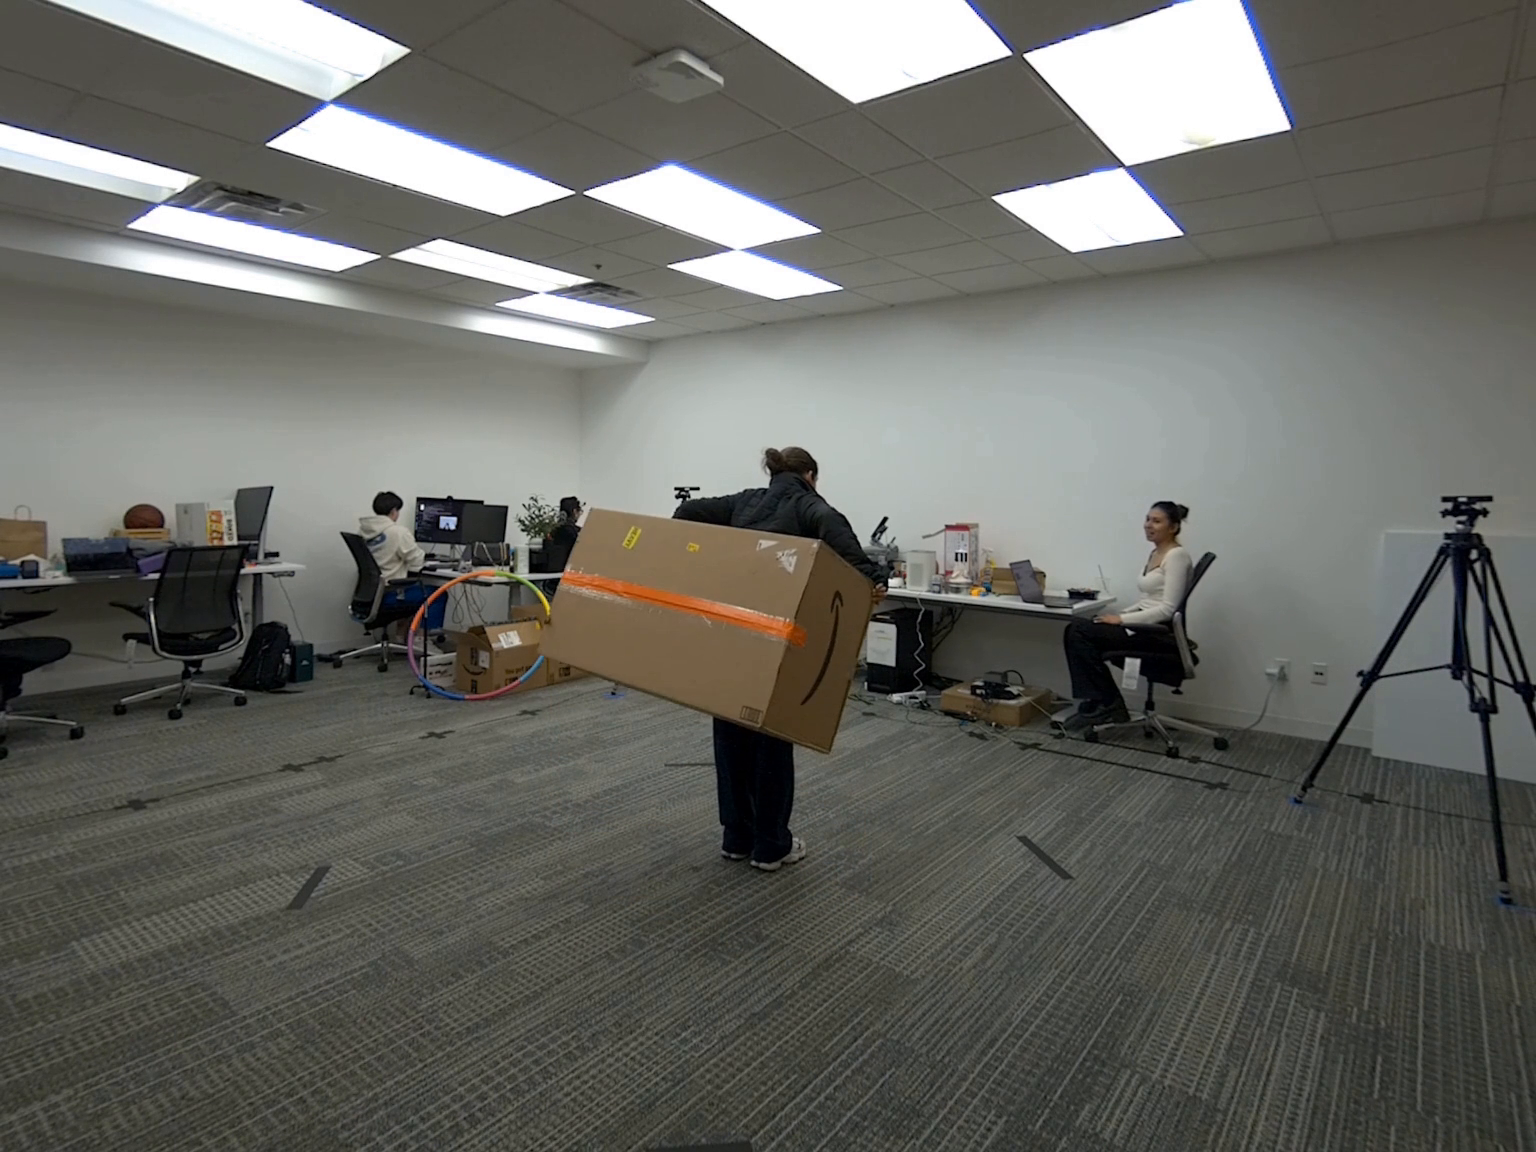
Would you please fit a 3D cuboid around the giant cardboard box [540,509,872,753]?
[{"bbox_3d":[-0.218,0.170,2.937,1.062,0.581,0.408,10,-15,38],"label":"giant cardboard box"}]
